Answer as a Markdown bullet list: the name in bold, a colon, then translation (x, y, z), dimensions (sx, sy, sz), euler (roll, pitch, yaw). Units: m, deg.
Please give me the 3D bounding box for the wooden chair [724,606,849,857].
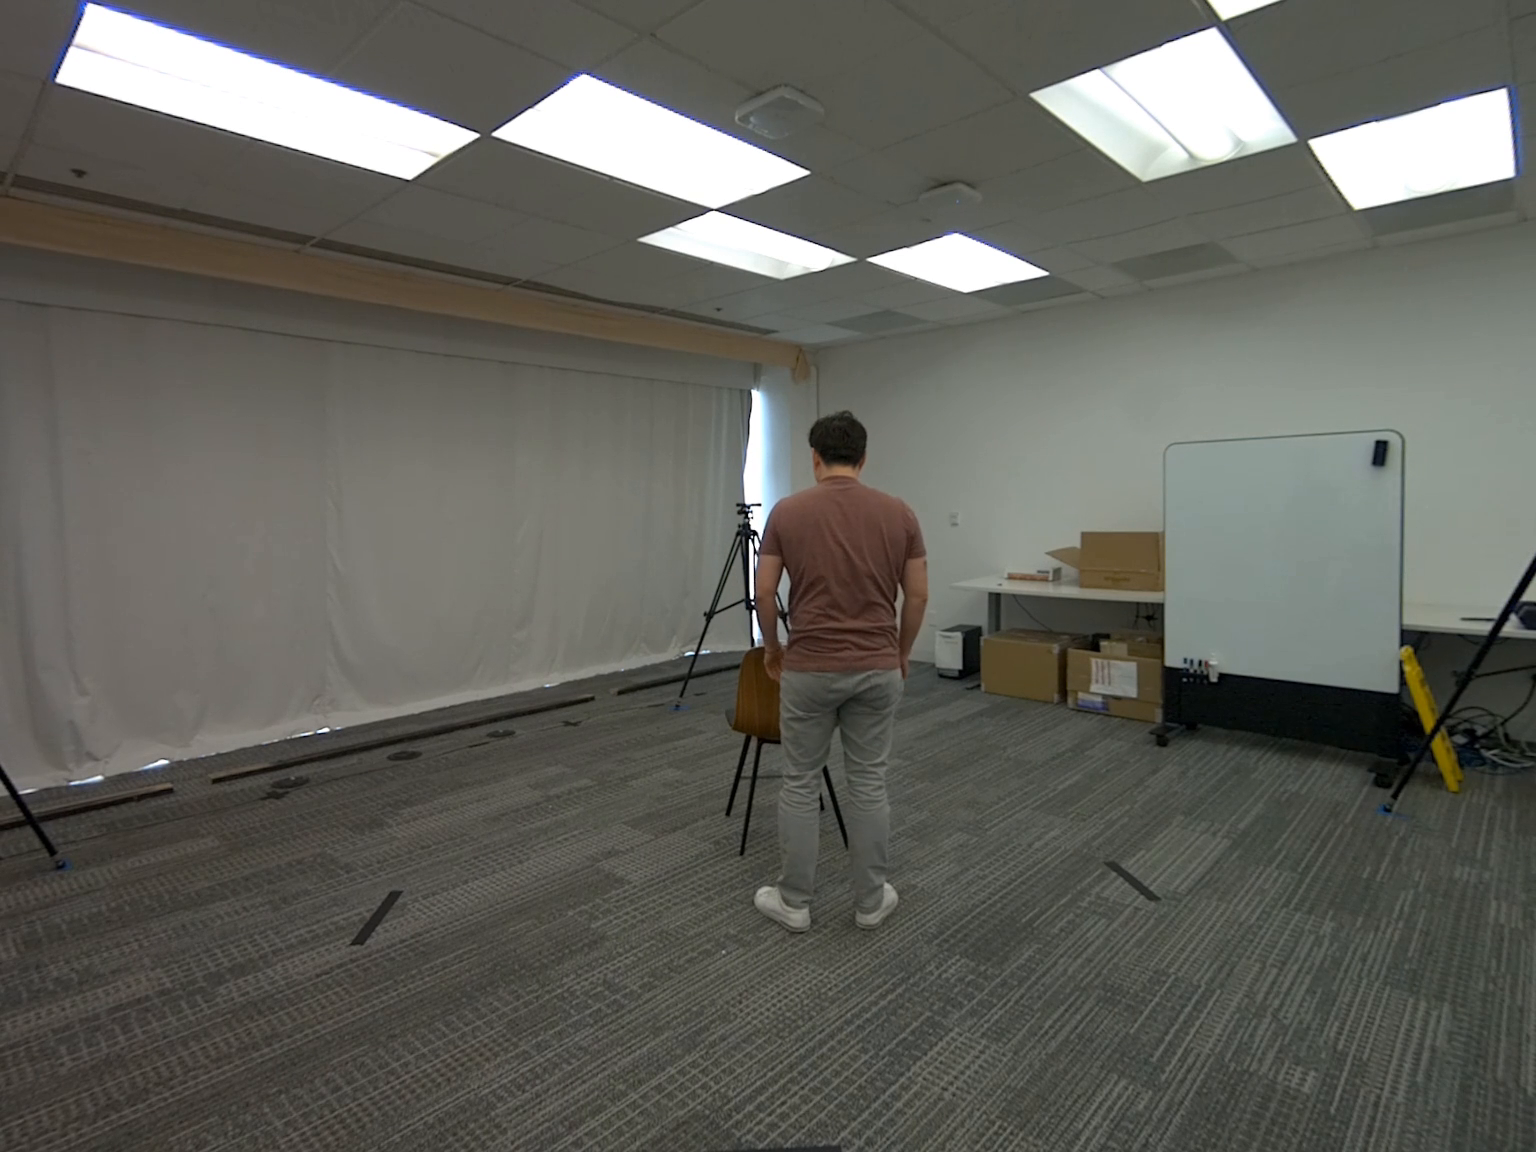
- **wooden chair**: translation (0.061, 0.657, 3.550), dimensions (0.474, 0.873, 0.530), euler (-2, 8, -8)
